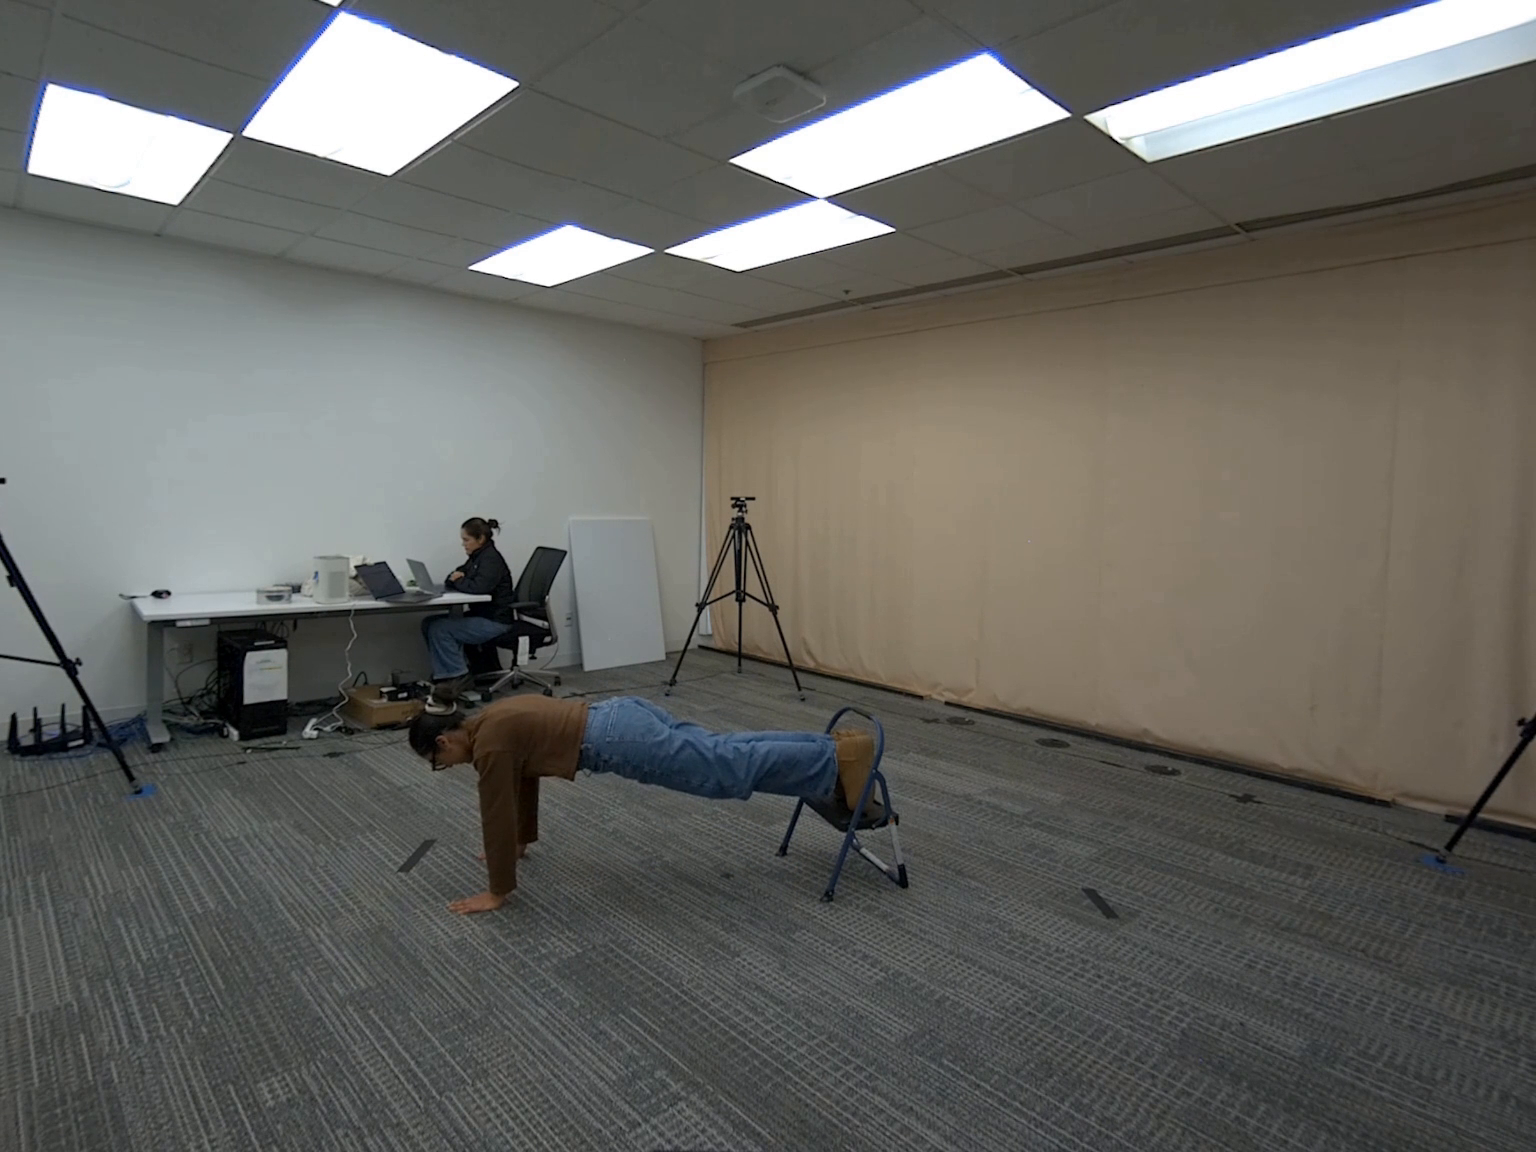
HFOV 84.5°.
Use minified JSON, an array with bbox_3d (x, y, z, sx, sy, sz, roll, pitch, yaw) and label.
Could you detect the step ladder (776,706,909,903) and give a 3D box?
[{"bbox_3d":[0.274,0.811,3.155,0.343,0.605,0.439,0,4,-23],"label":"step ladder"}]
